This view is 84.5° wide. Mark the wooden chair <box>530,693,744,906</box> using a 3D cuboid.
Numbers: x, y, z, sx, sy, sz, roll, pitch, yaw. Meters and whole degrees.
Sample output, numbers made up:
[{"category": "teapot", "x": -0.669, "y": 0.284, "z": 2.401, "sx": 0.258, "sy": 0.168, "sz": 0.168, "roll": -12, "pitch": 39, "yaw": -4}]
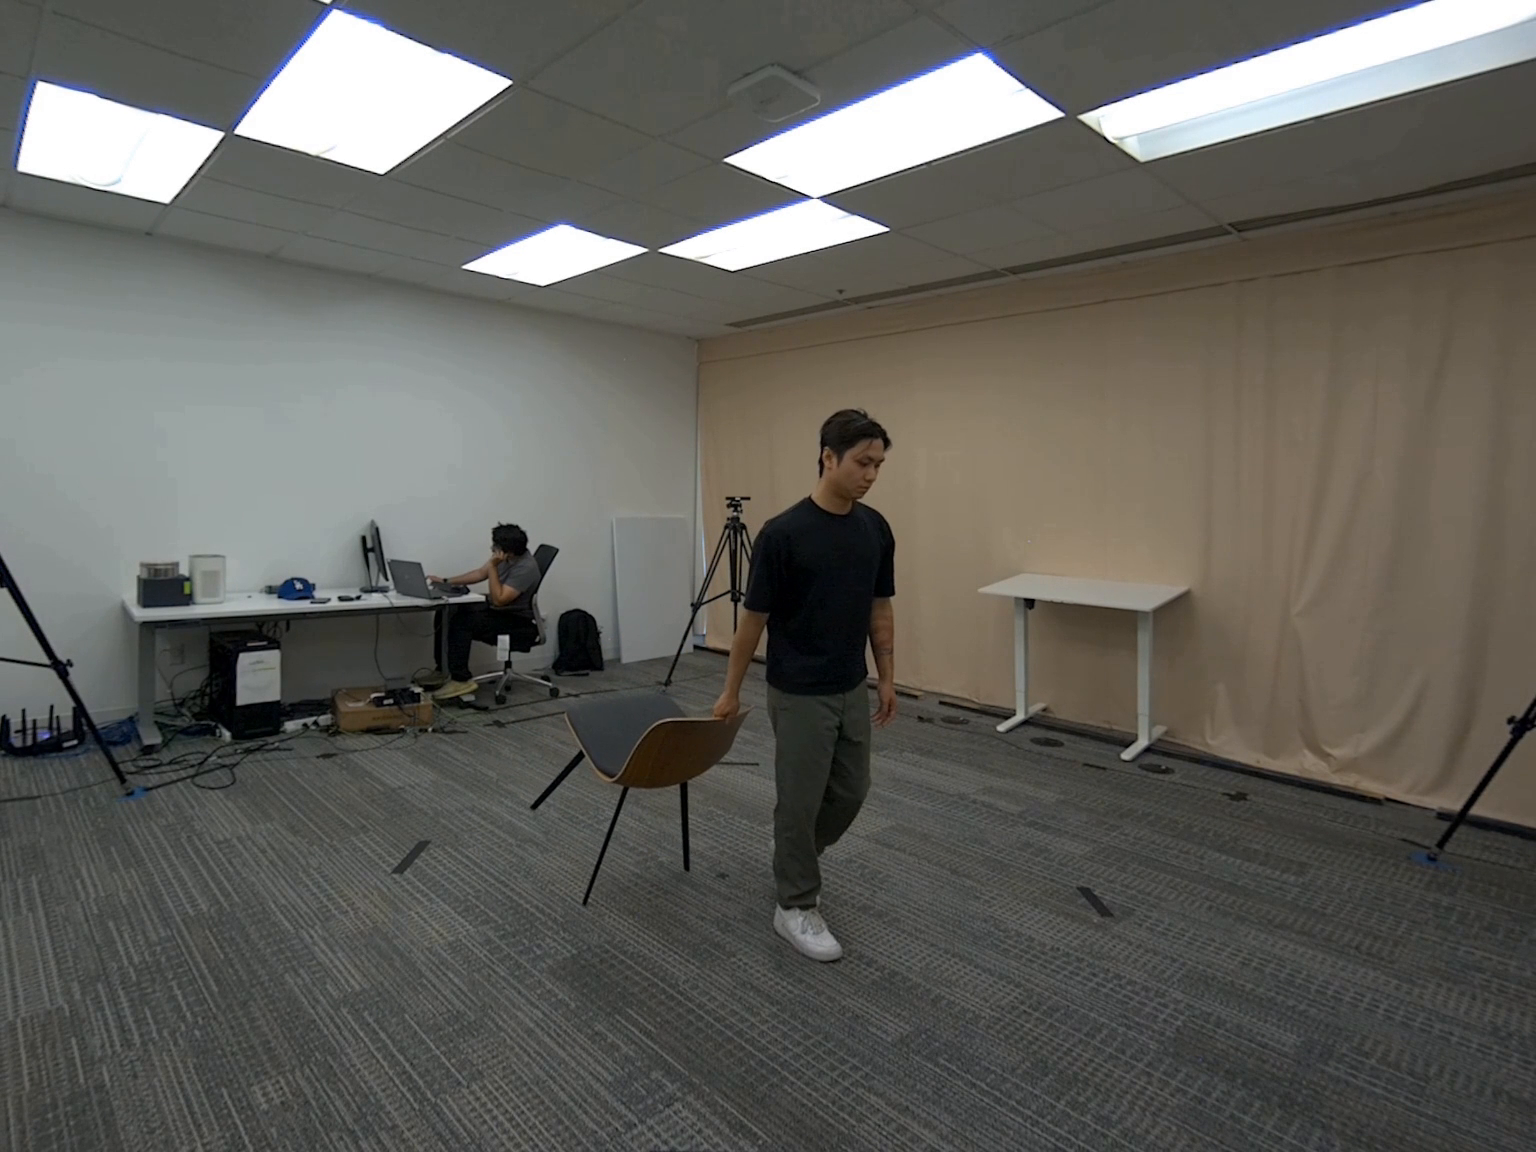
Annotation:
[{"category": "wooden chair", "x": -0.451, "y": 0.623, "z": 2.963, "sx": 0.467, "sy": 0.870, "sz": 0.539, "roll": -2, "pitch": 38, "yaw": -41}]
